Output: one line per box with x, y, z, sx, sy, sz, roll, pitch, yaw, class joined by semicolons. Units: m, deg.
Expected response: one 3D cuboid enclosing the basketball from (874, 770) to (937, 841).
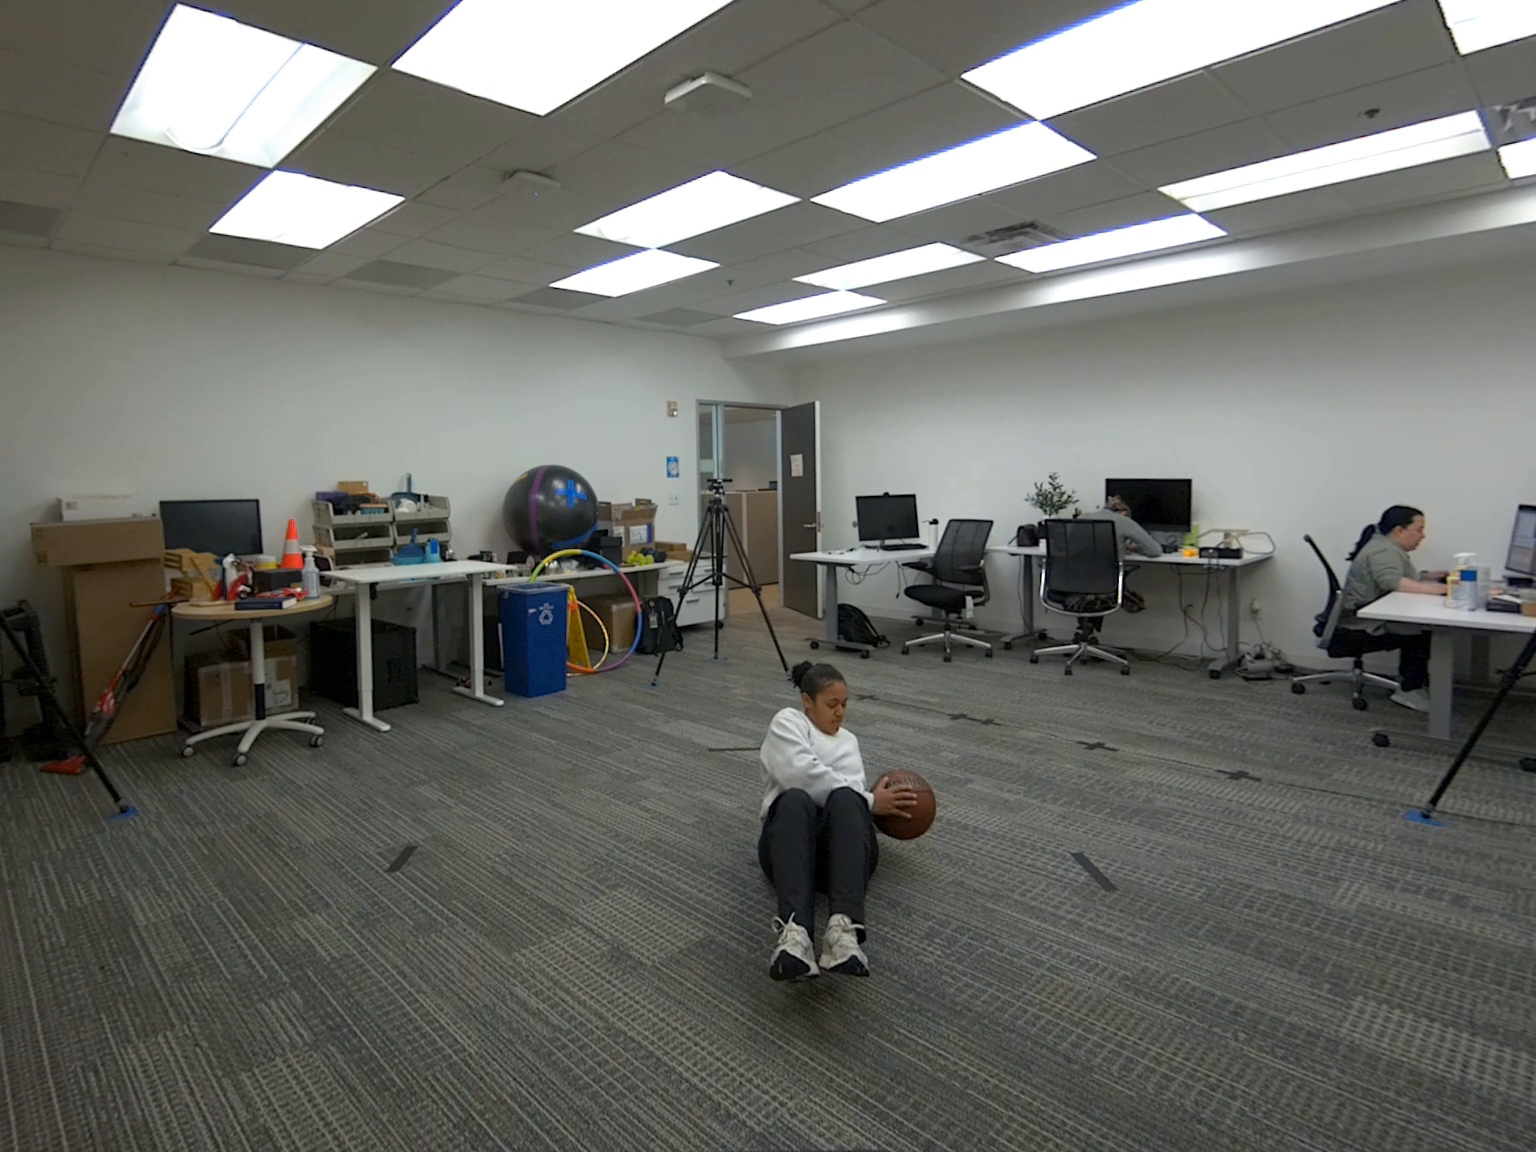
0.462;0.791;3.024;0.236;0.235;0.237;-1;5;-2;basketball
